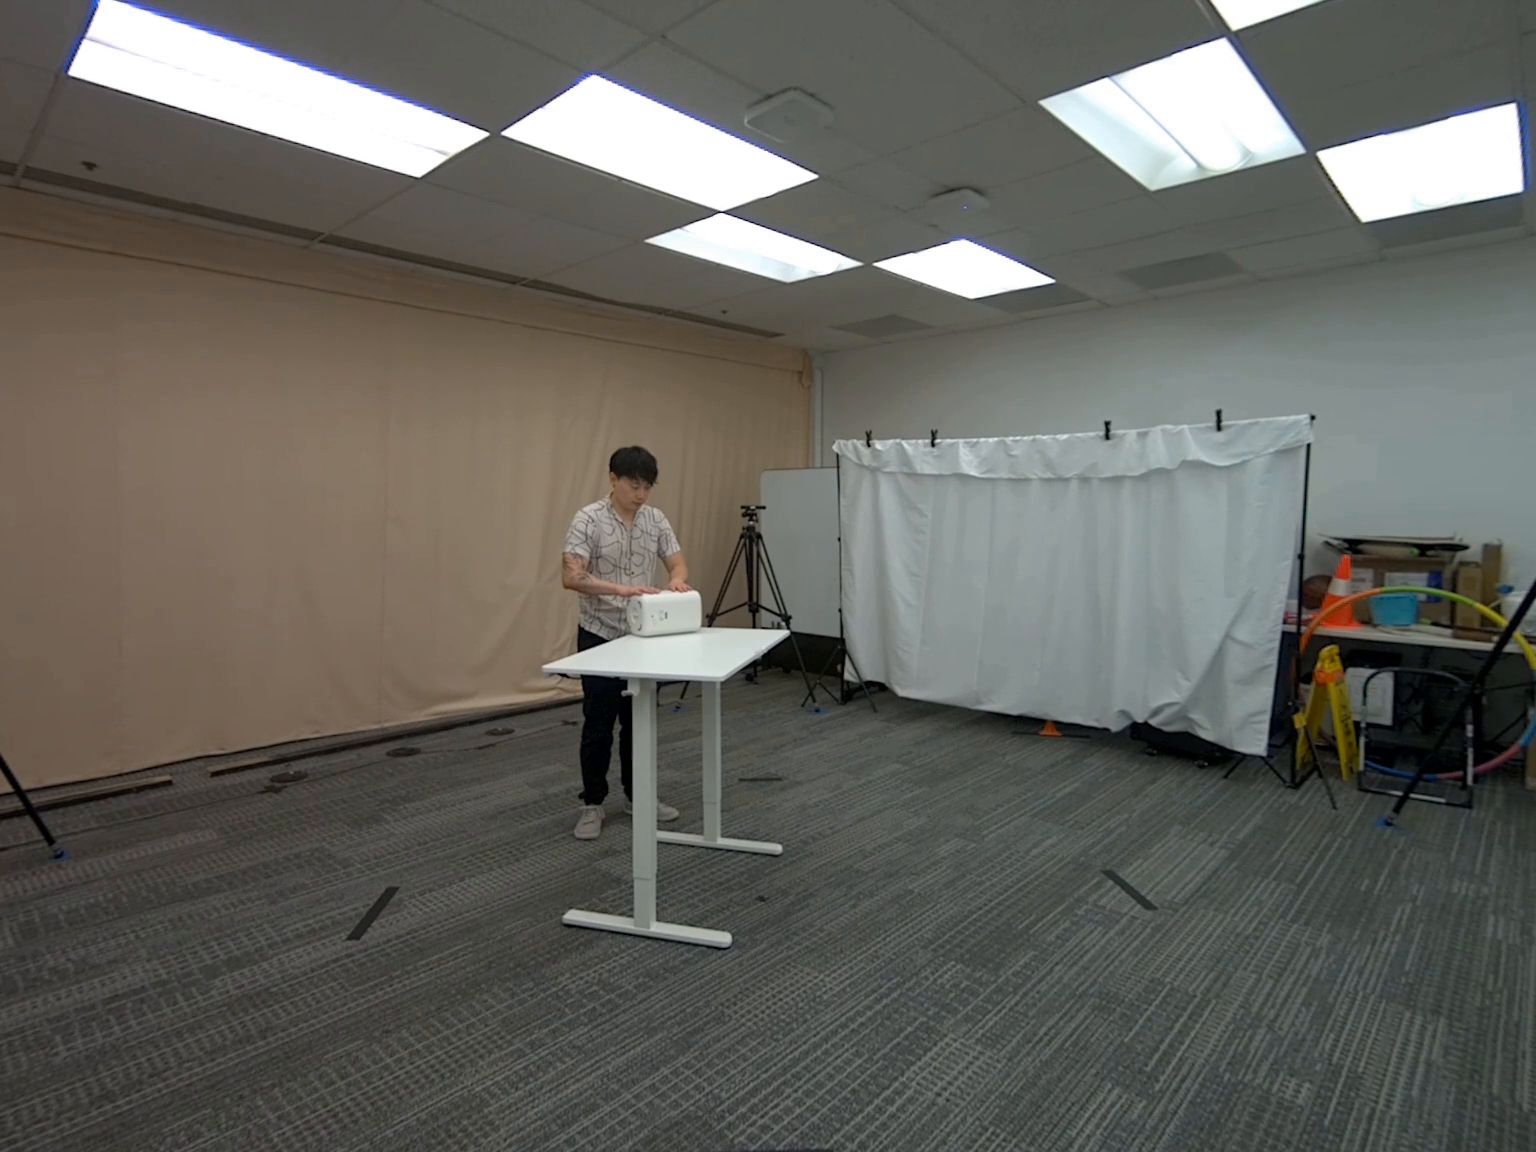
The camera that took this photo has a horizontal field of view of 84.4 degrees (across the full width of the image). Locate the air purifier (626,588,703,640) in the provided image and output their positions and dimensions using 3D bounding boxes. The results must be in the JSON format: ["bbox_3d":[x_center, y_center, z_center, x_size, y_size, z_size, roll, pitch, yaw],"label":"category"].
[{"bbox_3d":[-0.424,0.145,3.386,0.258,0.170,0.177,-4,5,-34],"label":"air purifier"}]
